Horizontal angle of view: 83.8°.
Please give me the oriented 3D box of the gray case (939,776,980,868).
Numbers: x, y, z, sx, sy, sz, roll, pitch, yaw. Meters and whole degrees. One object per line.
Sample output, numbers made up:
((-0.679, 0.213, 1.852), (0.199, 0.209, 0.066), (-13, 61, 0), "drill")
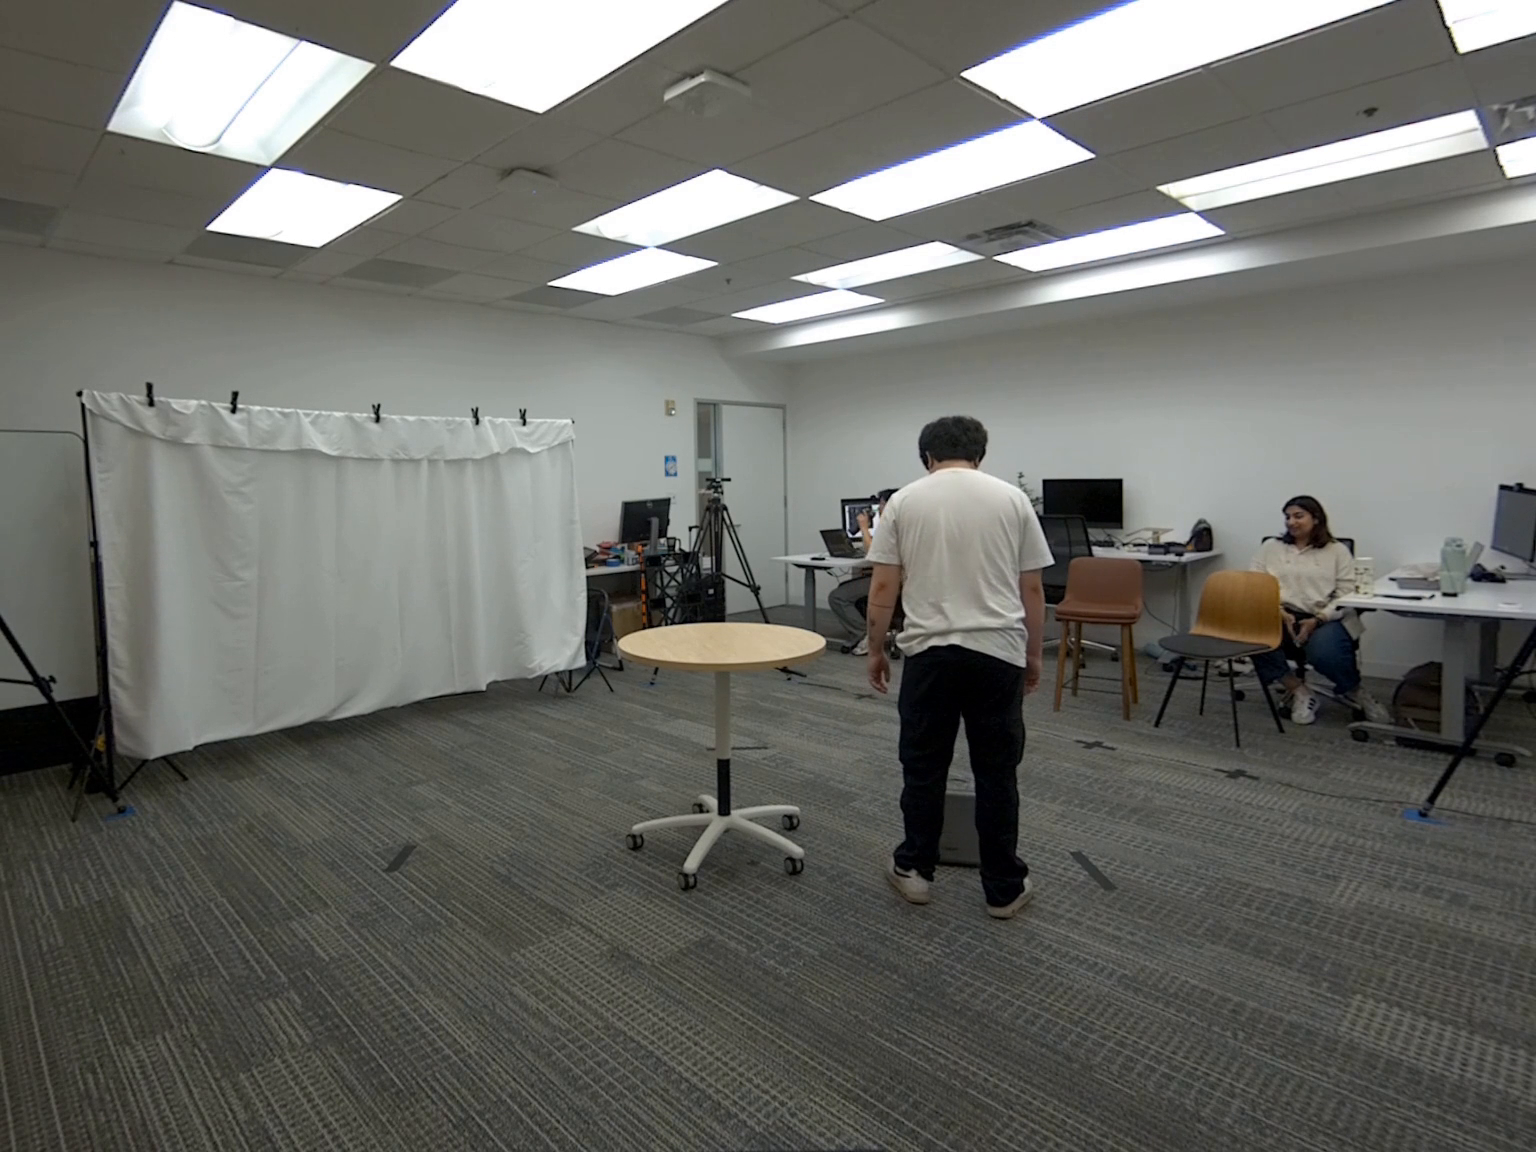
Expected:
((0.680, 0.907, 3.105), (0.260, 0.262, 0.102), (0, -8, 13), "gray case")
